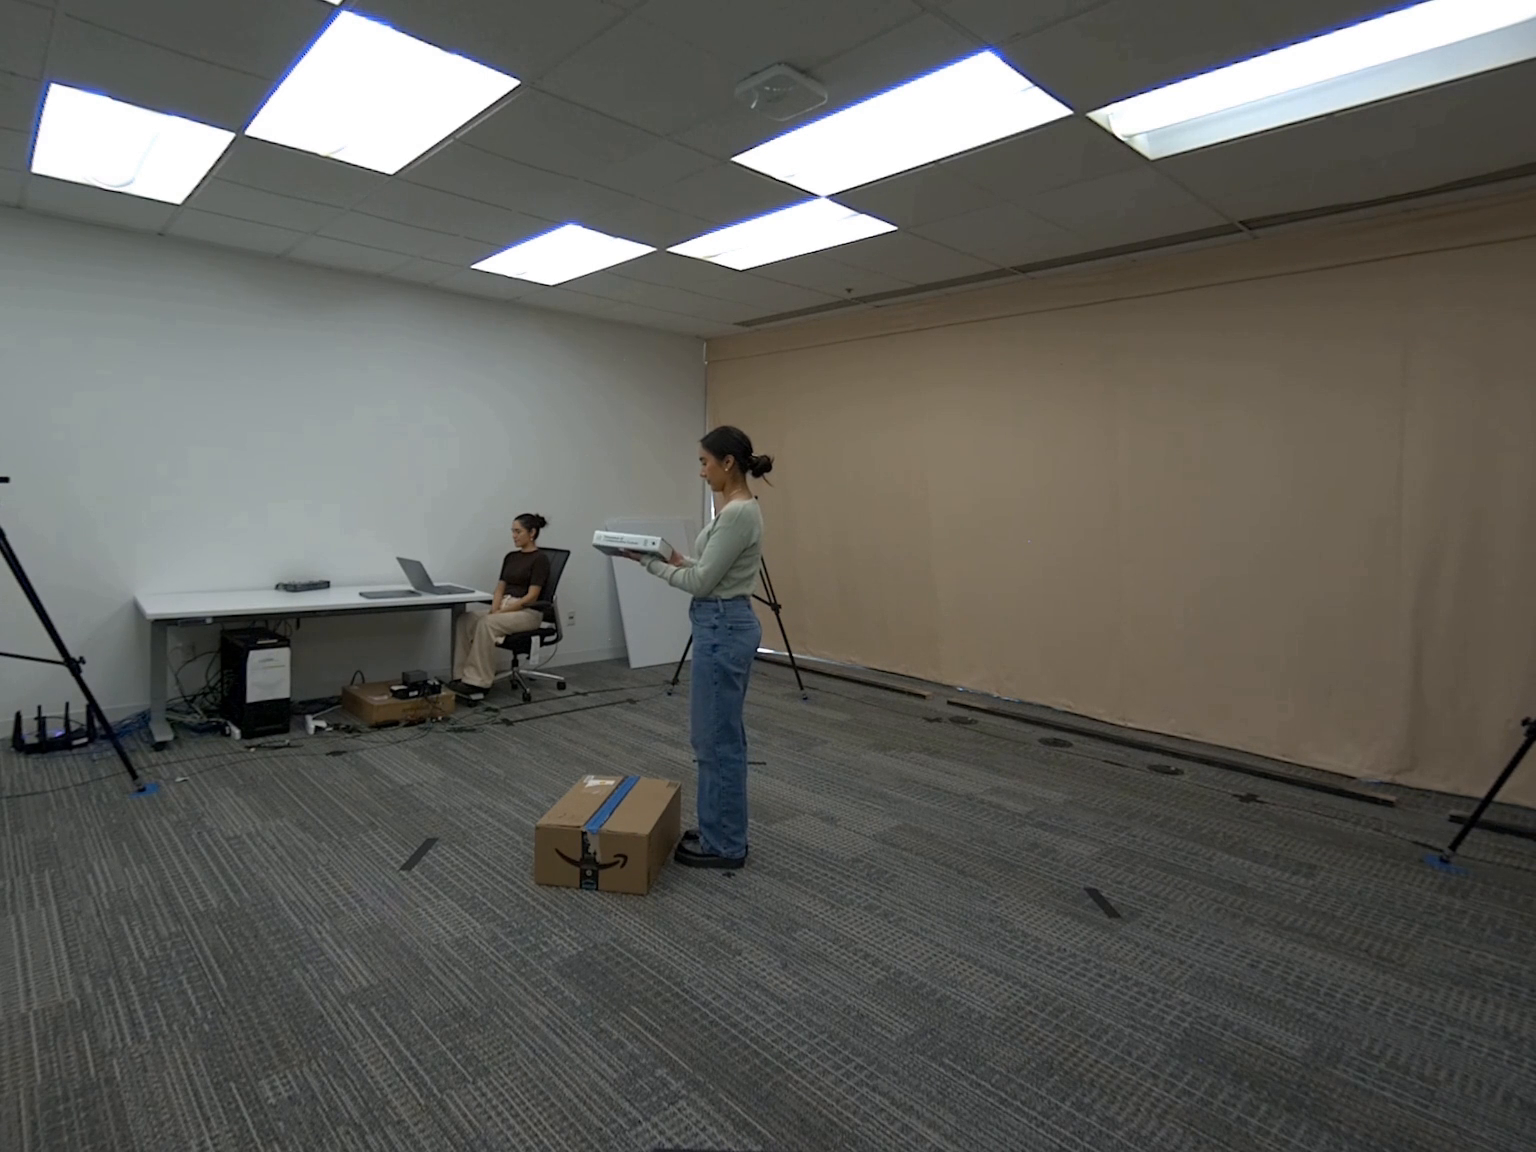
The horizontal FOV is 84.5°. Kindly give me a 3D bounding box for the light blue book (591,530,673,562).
[{"bbox_3d":[-0.515,-0.110,3.208,0.263,0.059,0.188,8,-11,10],"label":"light blue book"}]
